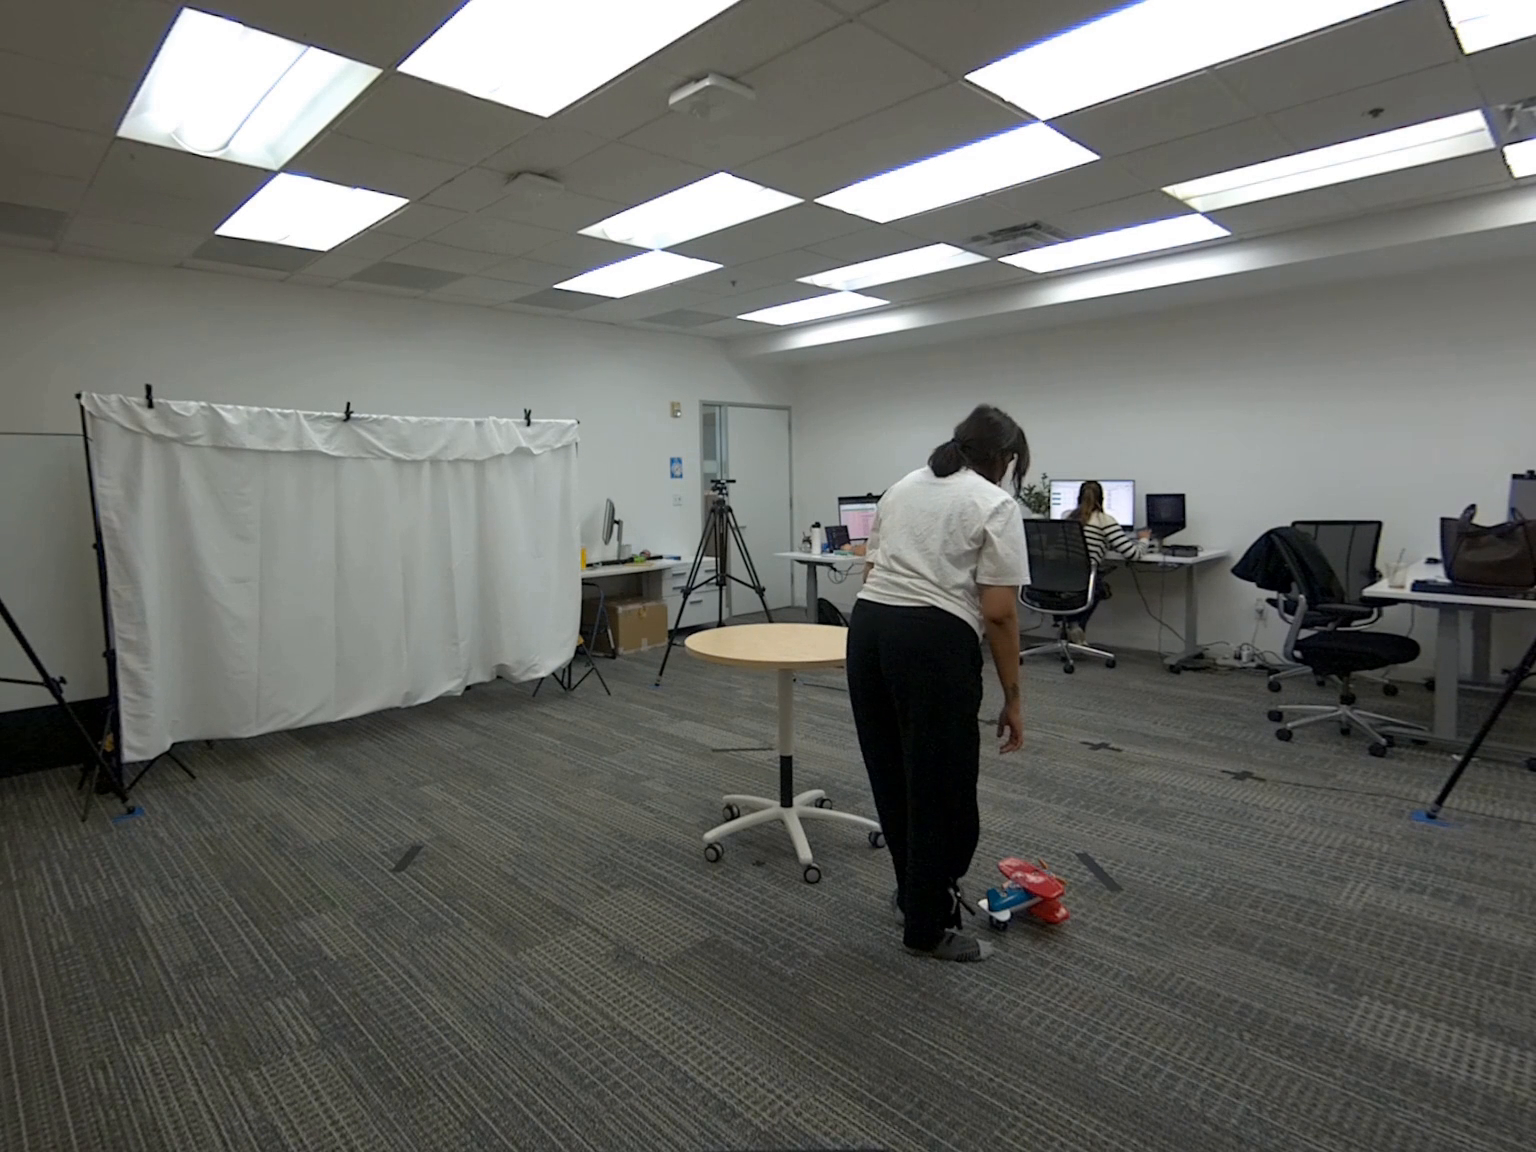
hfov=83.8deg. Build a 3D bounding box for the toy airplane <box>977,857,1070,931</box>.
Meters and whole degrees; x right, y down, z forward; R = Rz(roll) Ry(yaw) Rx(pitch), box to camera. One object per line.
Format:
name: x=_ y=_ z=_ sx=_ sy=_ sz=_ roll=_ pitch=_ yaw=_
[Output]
toy airplane: x=0.807 y=1.006 z=2.651 sx=0.259 sy=0.156 sz=0.252 roll=5 pitch=7 yaw=41
